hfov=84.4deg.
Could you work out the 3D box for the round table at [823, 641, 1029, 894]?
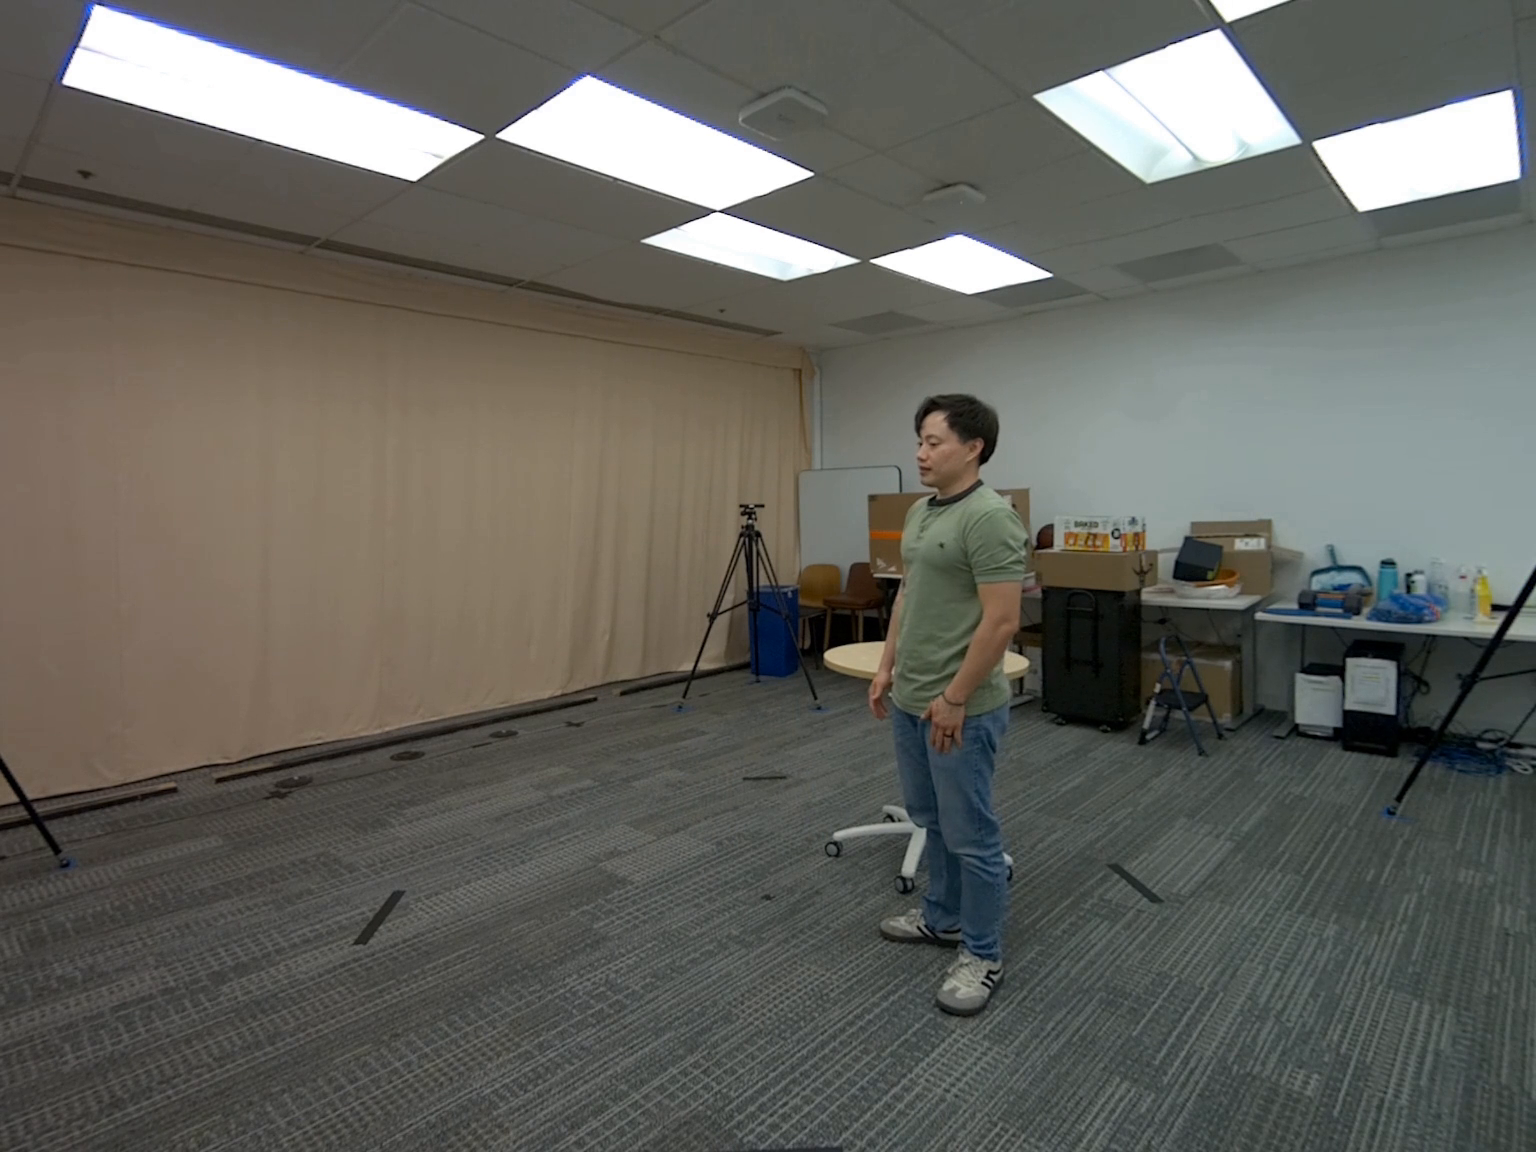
[{"bbox_3d":[0.605,0.711,3.274,0.763,0.792,0.766,0,4,-2],"label":"round table"}]
